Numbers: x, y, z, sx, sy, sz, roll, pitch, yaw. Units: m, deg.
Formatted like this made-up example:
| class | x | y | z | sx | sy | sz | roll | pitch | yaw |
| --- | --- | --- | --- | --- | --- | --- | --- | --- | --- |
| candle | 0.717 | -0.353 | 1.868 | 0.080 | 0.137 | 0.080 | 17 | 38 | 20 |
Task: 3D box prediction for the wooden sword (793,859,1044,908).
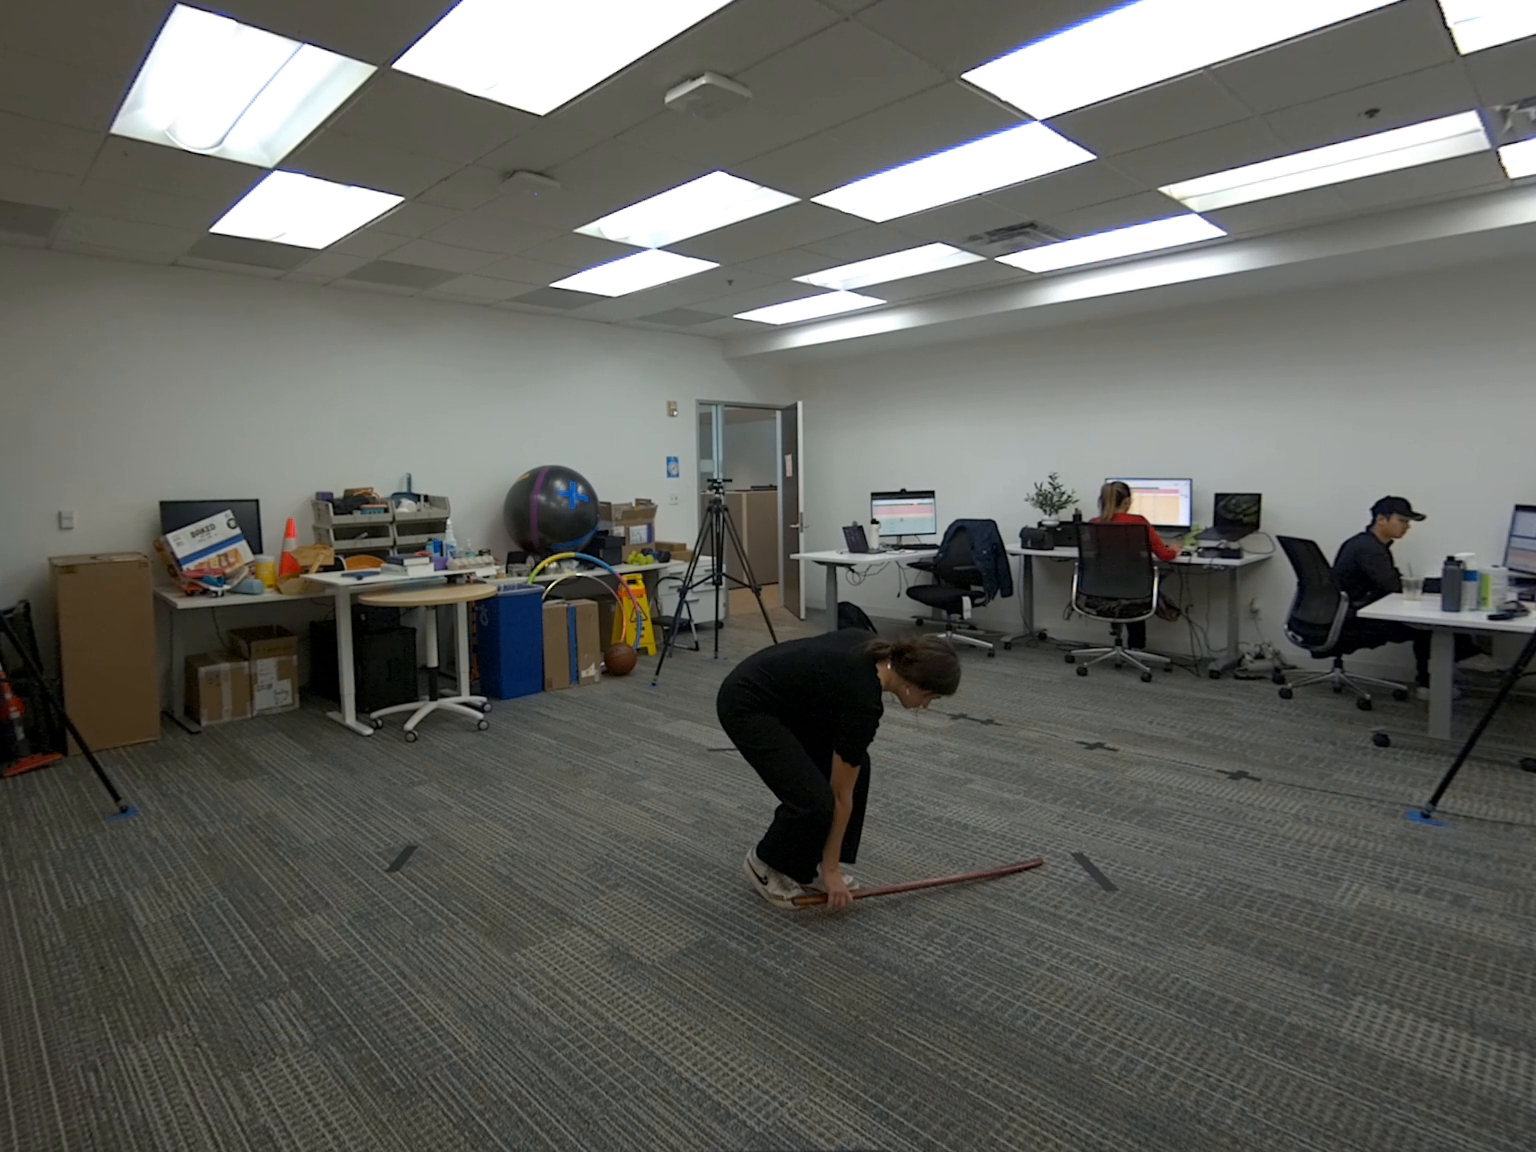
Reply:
| class | x | y | z | sx | sy | sz | roll | pitch | yaw |
| --- | --- | --- | --- | --- | --- | --- | --- | --- | --- |
| wooden sword | 0.546 | 1.020 | 2.865 | 1.003 | 0.024 | 0.053 | -1 | 16 | -24 |
